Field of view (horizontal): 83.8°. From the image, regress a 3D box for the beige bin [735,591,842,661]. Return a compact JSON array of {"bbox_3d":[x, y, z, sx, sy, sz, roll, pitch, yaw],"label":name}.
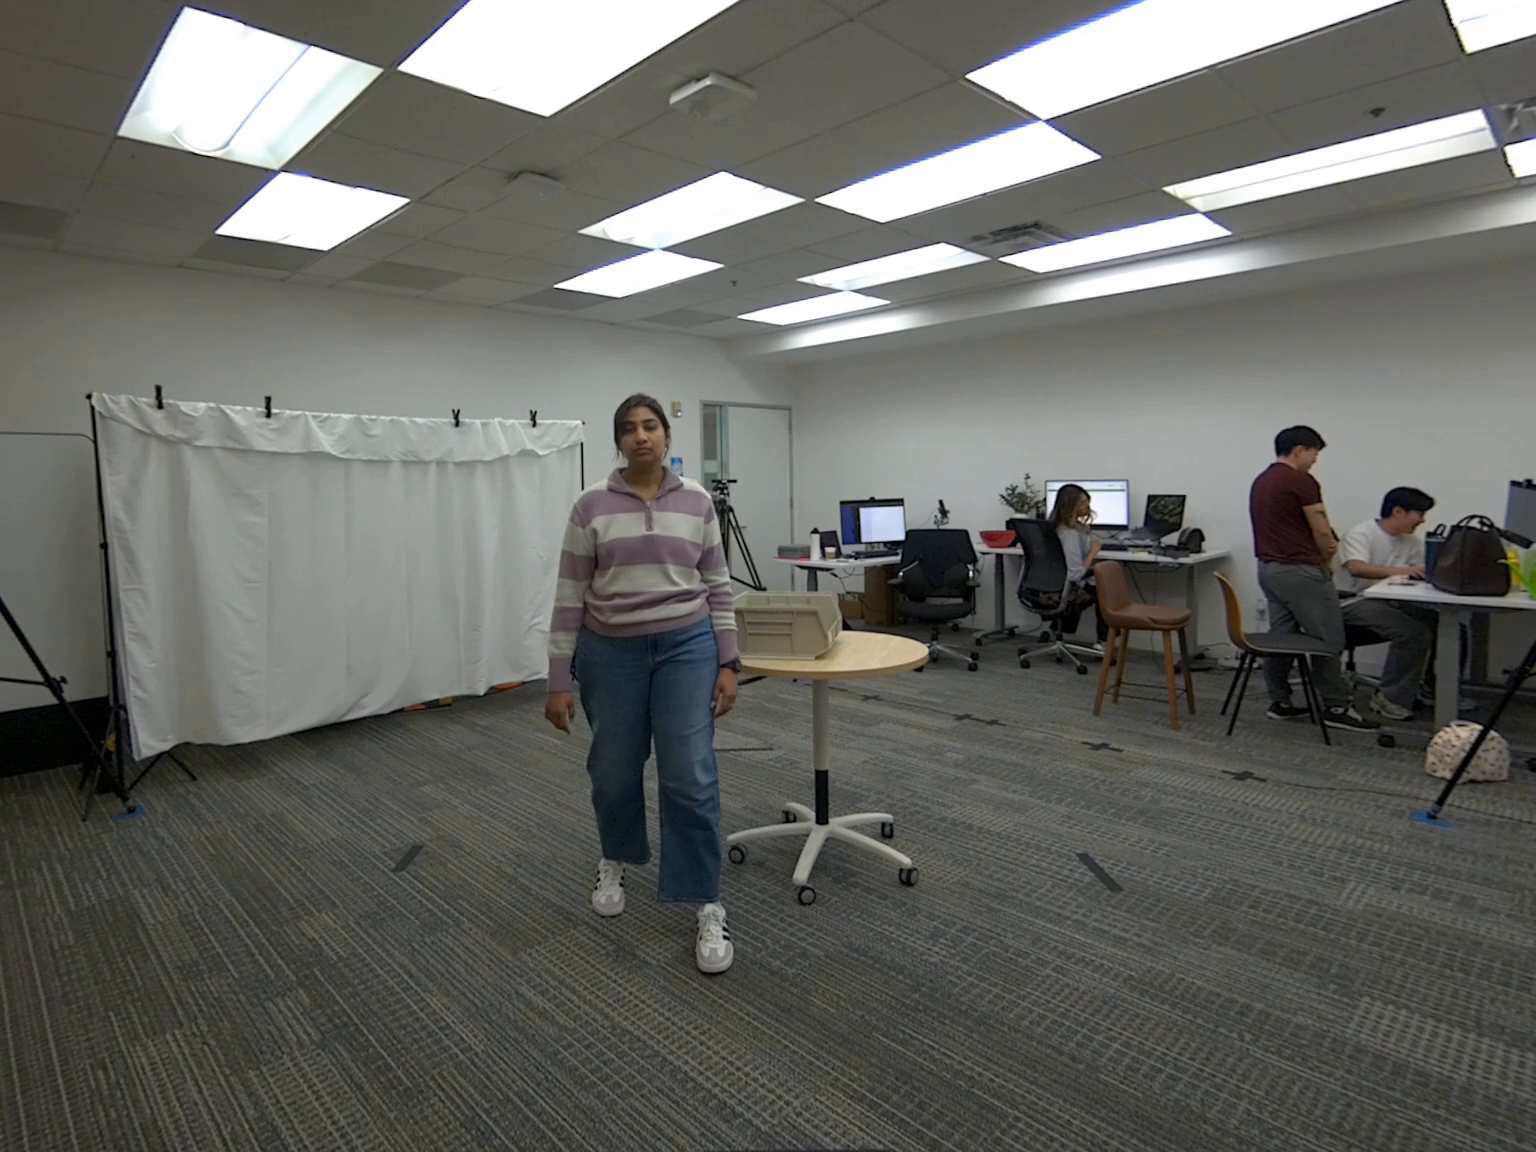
[{"bbox_3d":[0.062,0.173,3.100,0.382,0.188,0.419,-2,6,12],"label":"beige bin"}]
